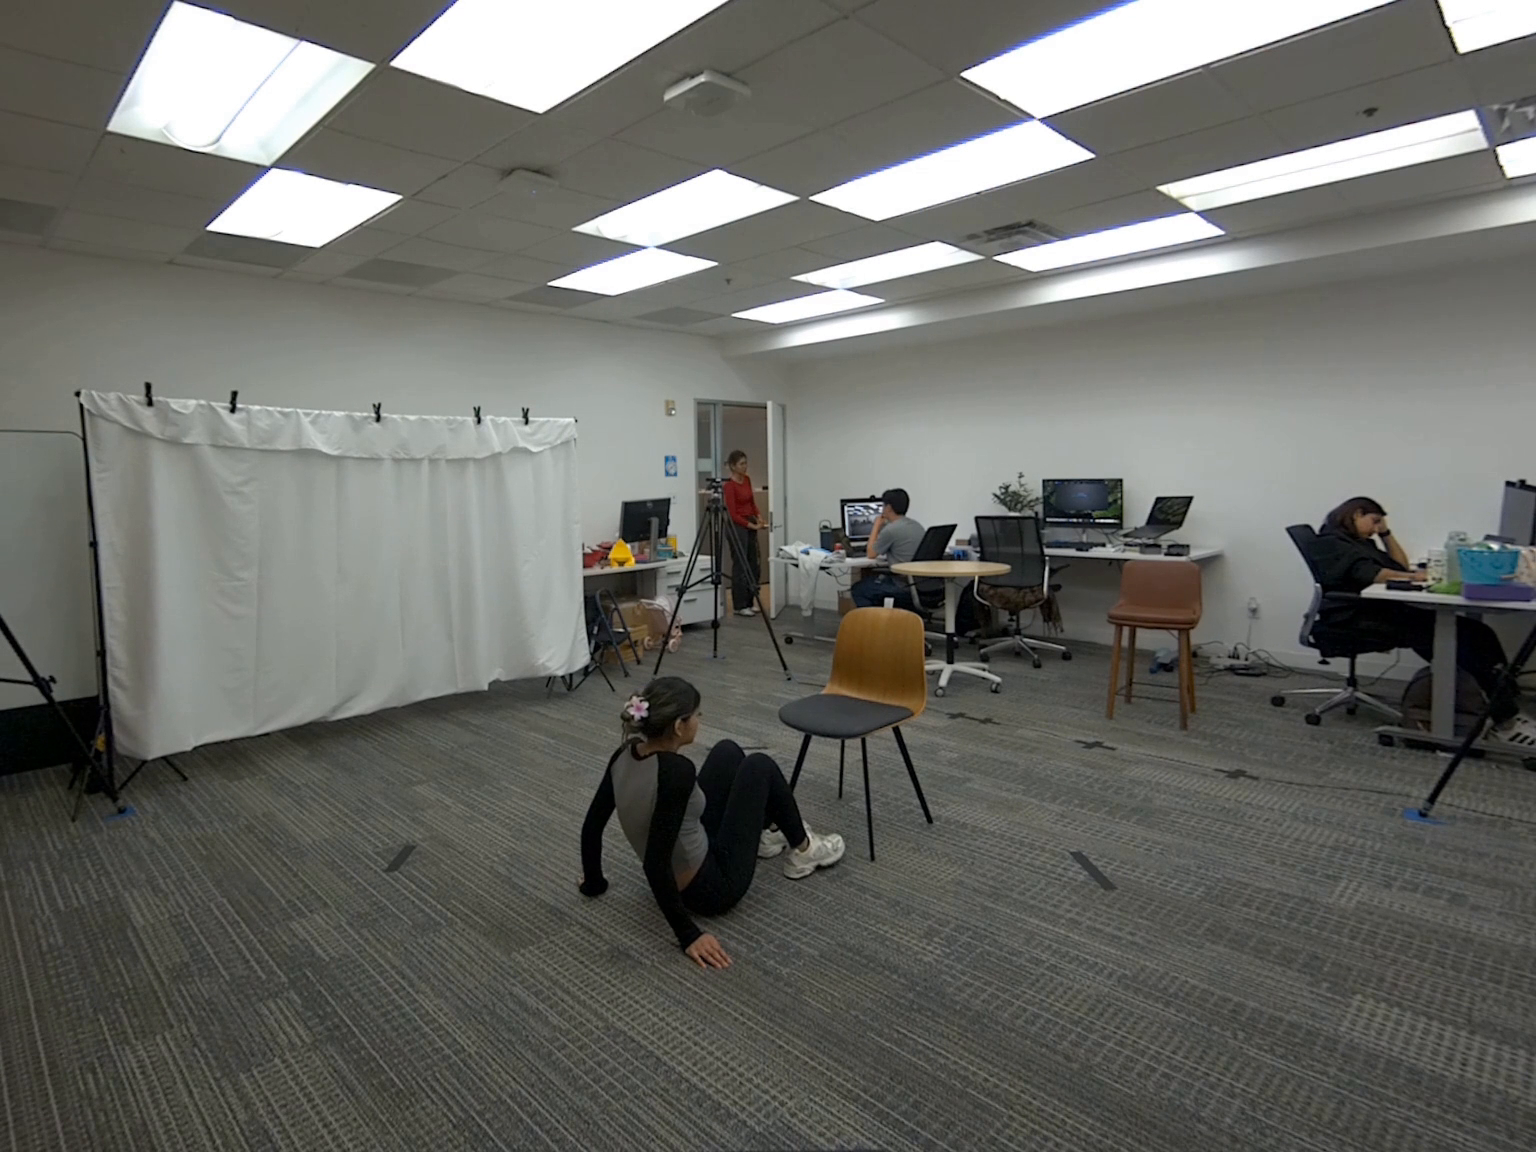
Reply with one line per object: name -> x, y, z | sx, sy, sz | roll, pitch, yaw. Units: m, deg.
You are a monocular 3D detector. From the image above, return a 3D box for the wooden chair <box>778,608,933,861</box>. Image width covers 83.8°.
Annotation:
wooden chair -> 0.337, 0.575, 3.377 | 0.492, 0.877, 0.508 | 3, 1, 40
